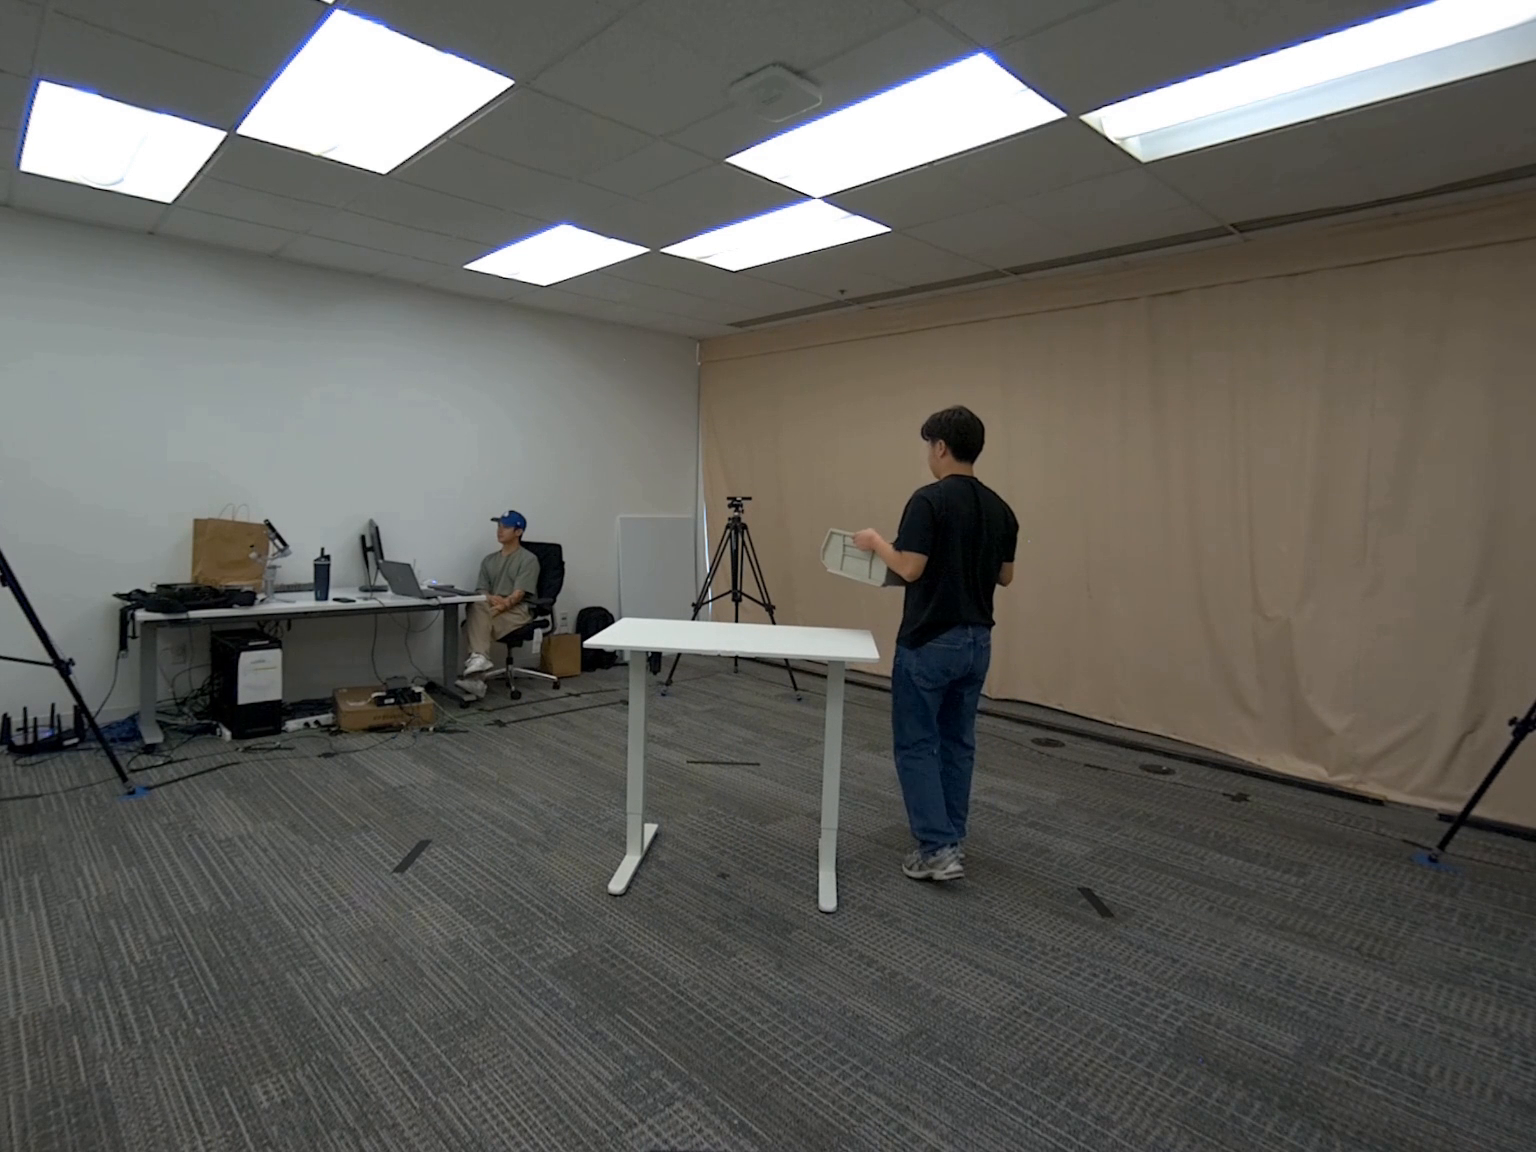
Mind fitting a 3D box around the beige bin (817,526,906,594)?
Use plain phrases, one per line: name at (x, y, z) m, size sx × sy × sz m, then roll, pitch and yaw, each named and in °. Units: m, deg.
beige bin at (0.499, -0.065, 3.492) m, size 0.412 × 0.188 × 0.388 m, roll 4°, pitch 10°, yaw -37°
